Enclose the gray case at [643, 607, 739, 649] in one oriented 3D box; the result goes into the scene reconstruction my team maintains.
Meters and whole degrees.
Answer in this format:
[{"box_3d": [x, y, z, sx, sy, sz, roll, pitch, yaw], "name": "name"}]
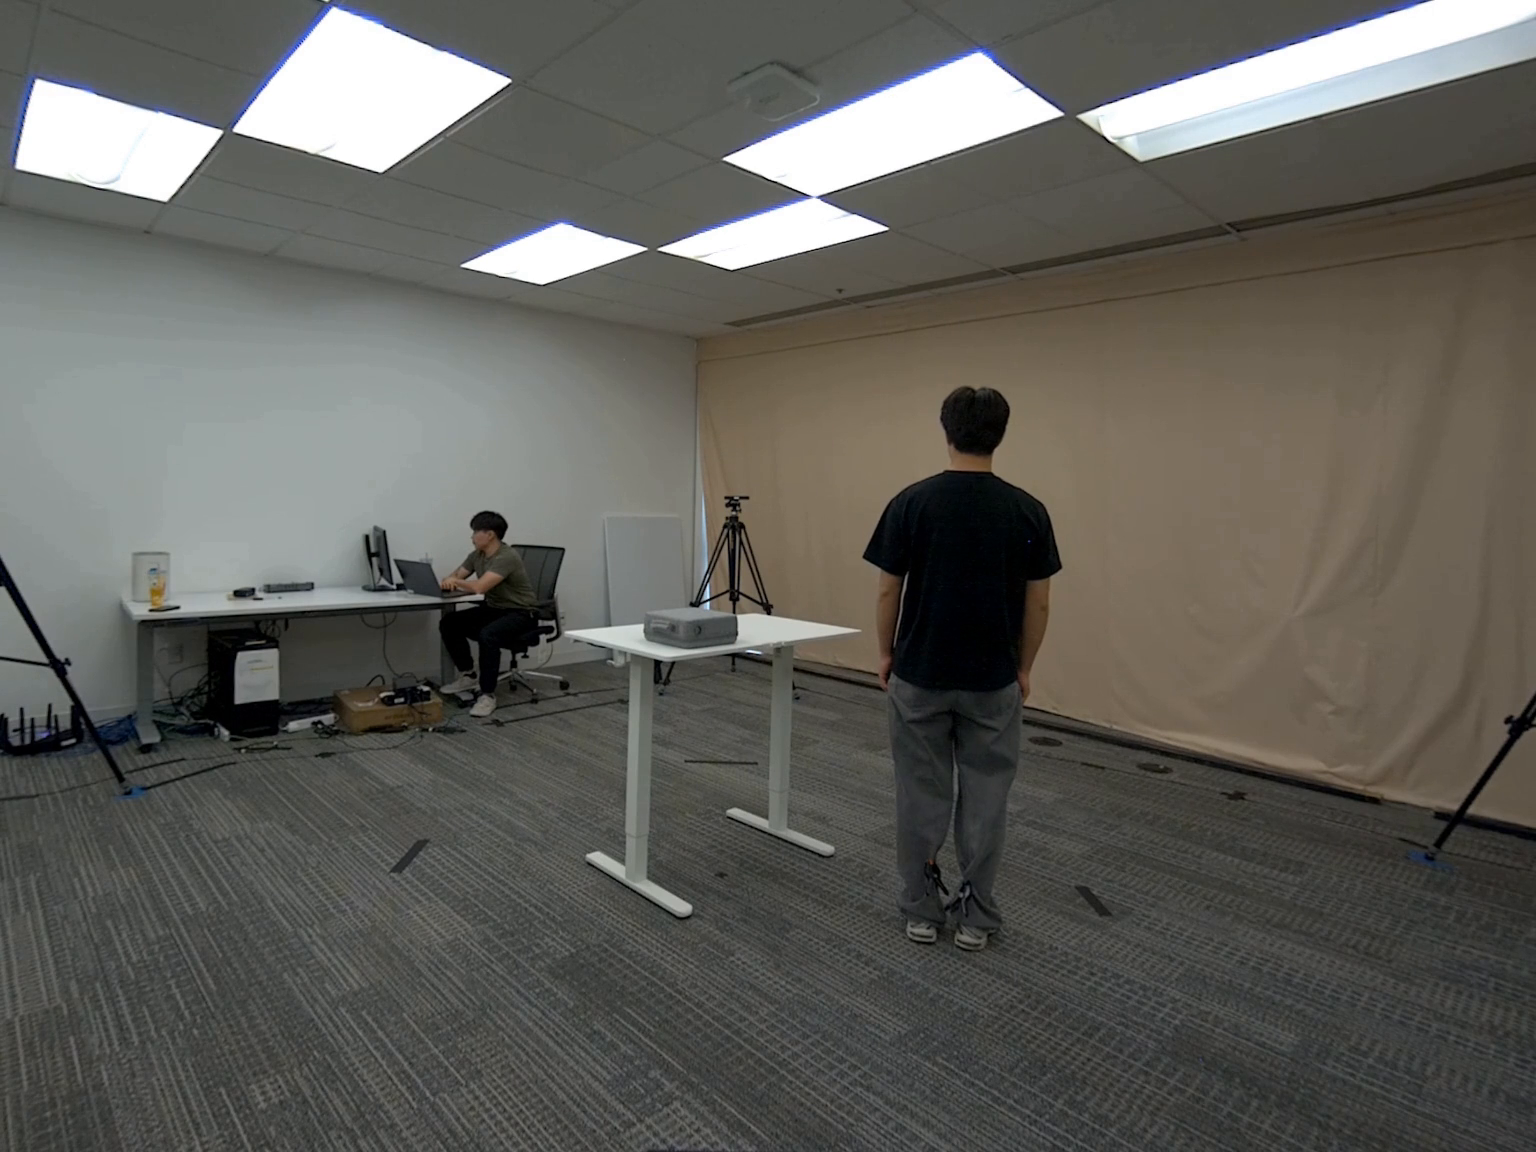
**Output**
[{"box_3d": [-0.280, 0.179, 2.947, 0.264, 0.104, 0.254, 8, 7, 44], "name": "gray case"}]
